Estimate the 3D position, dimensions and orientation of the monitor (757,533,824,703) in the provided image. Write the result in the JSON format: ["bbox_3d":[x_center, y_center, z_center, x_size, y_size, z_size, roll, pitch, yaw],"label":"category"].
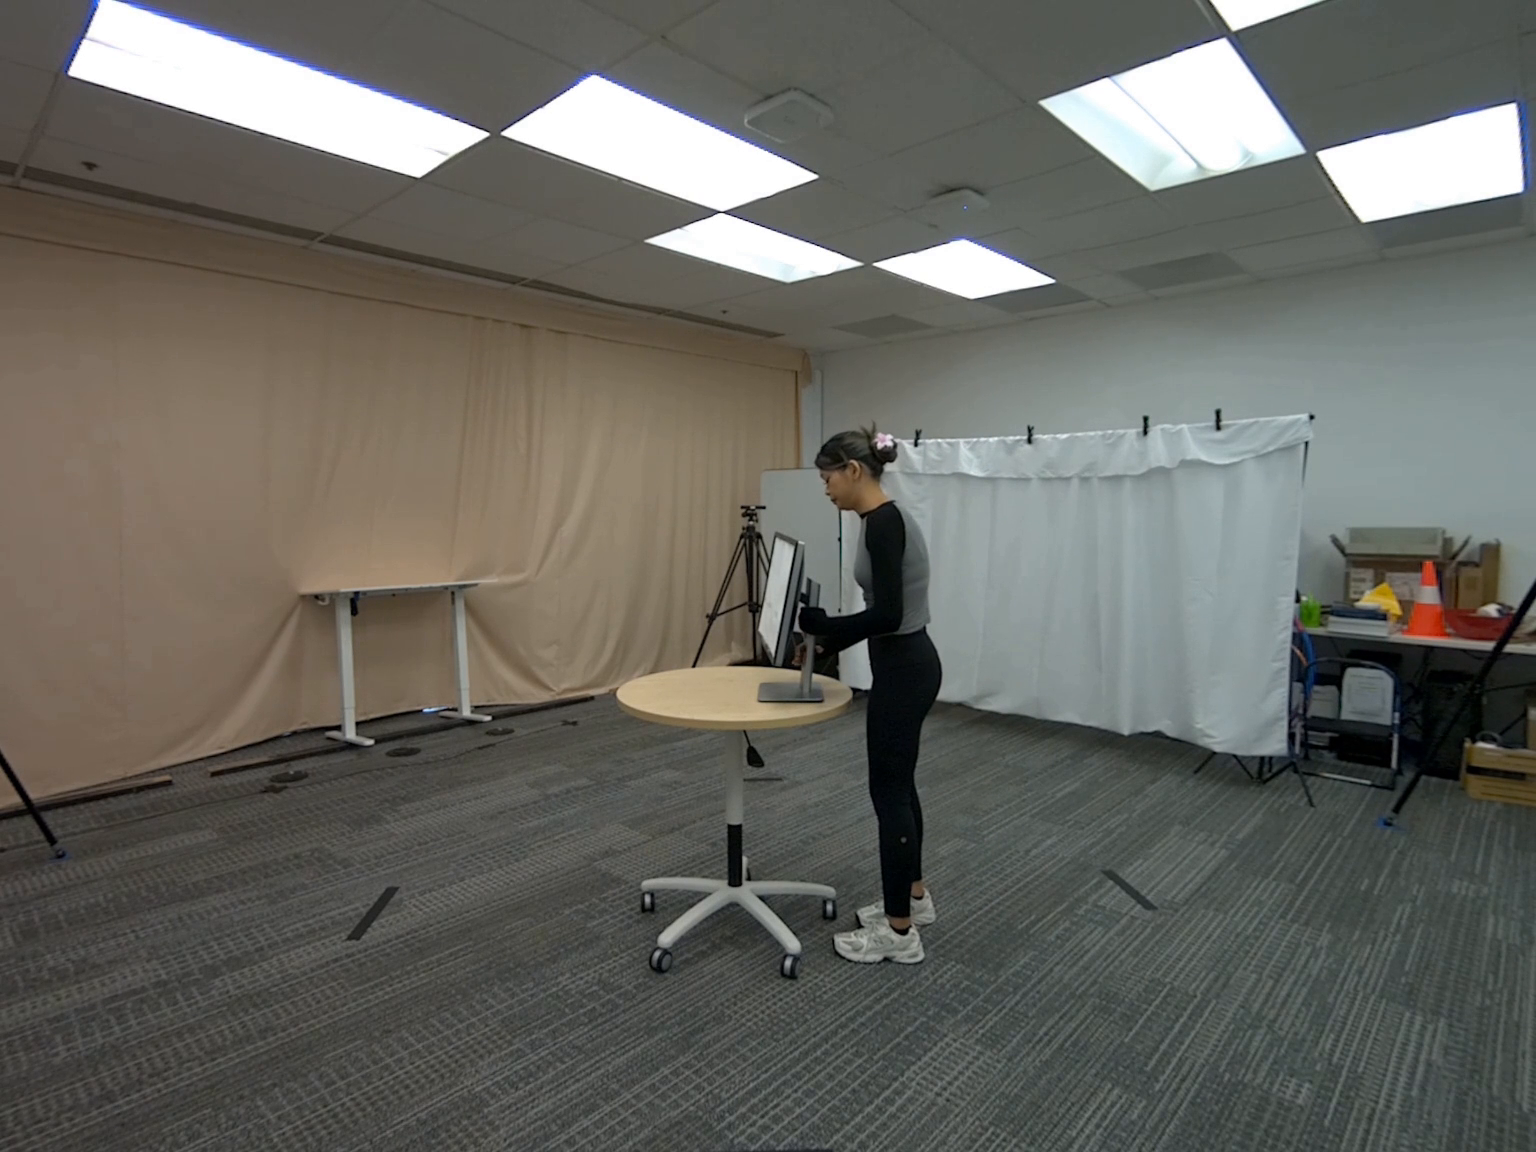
[{"bbox_3d":[0.078,0.134,2.685,0.186,0.521,0.544,-1,5,-7],"label":"monitor"}]
